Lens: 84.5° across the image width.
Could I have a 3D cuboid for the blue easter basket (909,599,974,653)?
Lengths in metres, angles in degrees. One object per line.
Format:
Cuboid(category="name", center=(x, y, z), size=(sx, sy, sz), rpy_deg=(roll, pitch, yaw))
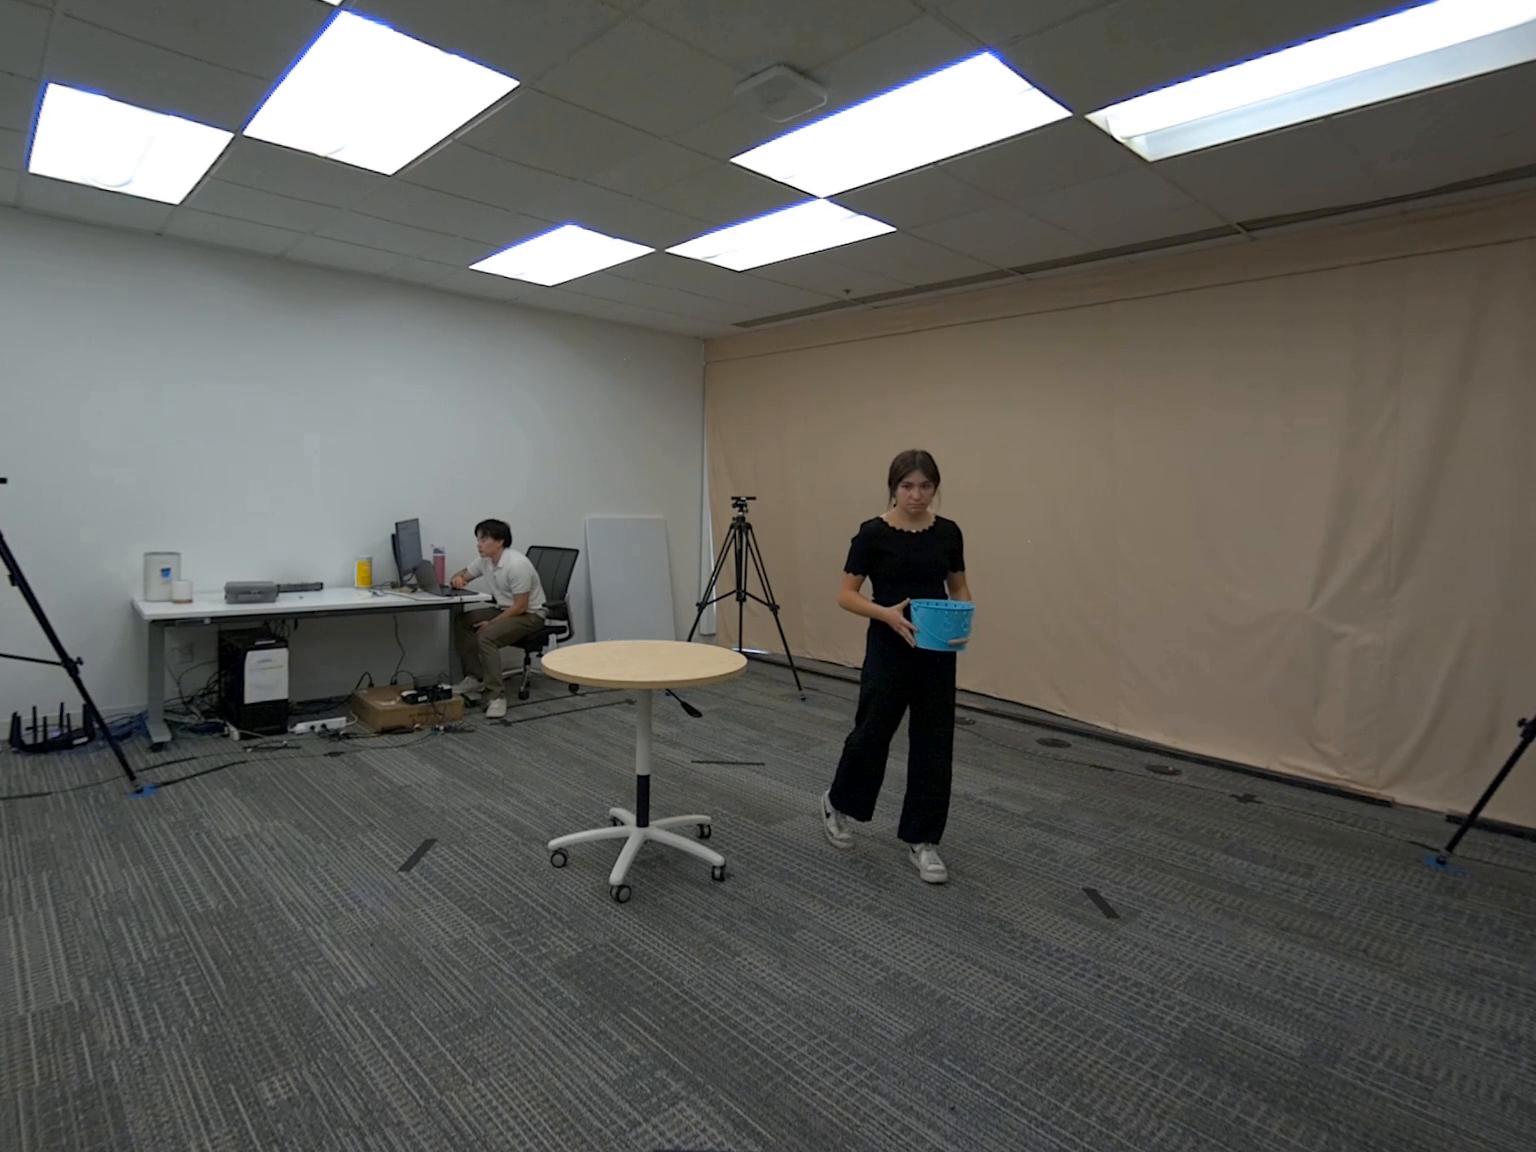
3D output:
Cuboid(category="blue easter basket", center=(0.602, 0.173, 2.969), size=(0.243, 0.155, 0.244), rpy_deg=(3, 5, -2))
